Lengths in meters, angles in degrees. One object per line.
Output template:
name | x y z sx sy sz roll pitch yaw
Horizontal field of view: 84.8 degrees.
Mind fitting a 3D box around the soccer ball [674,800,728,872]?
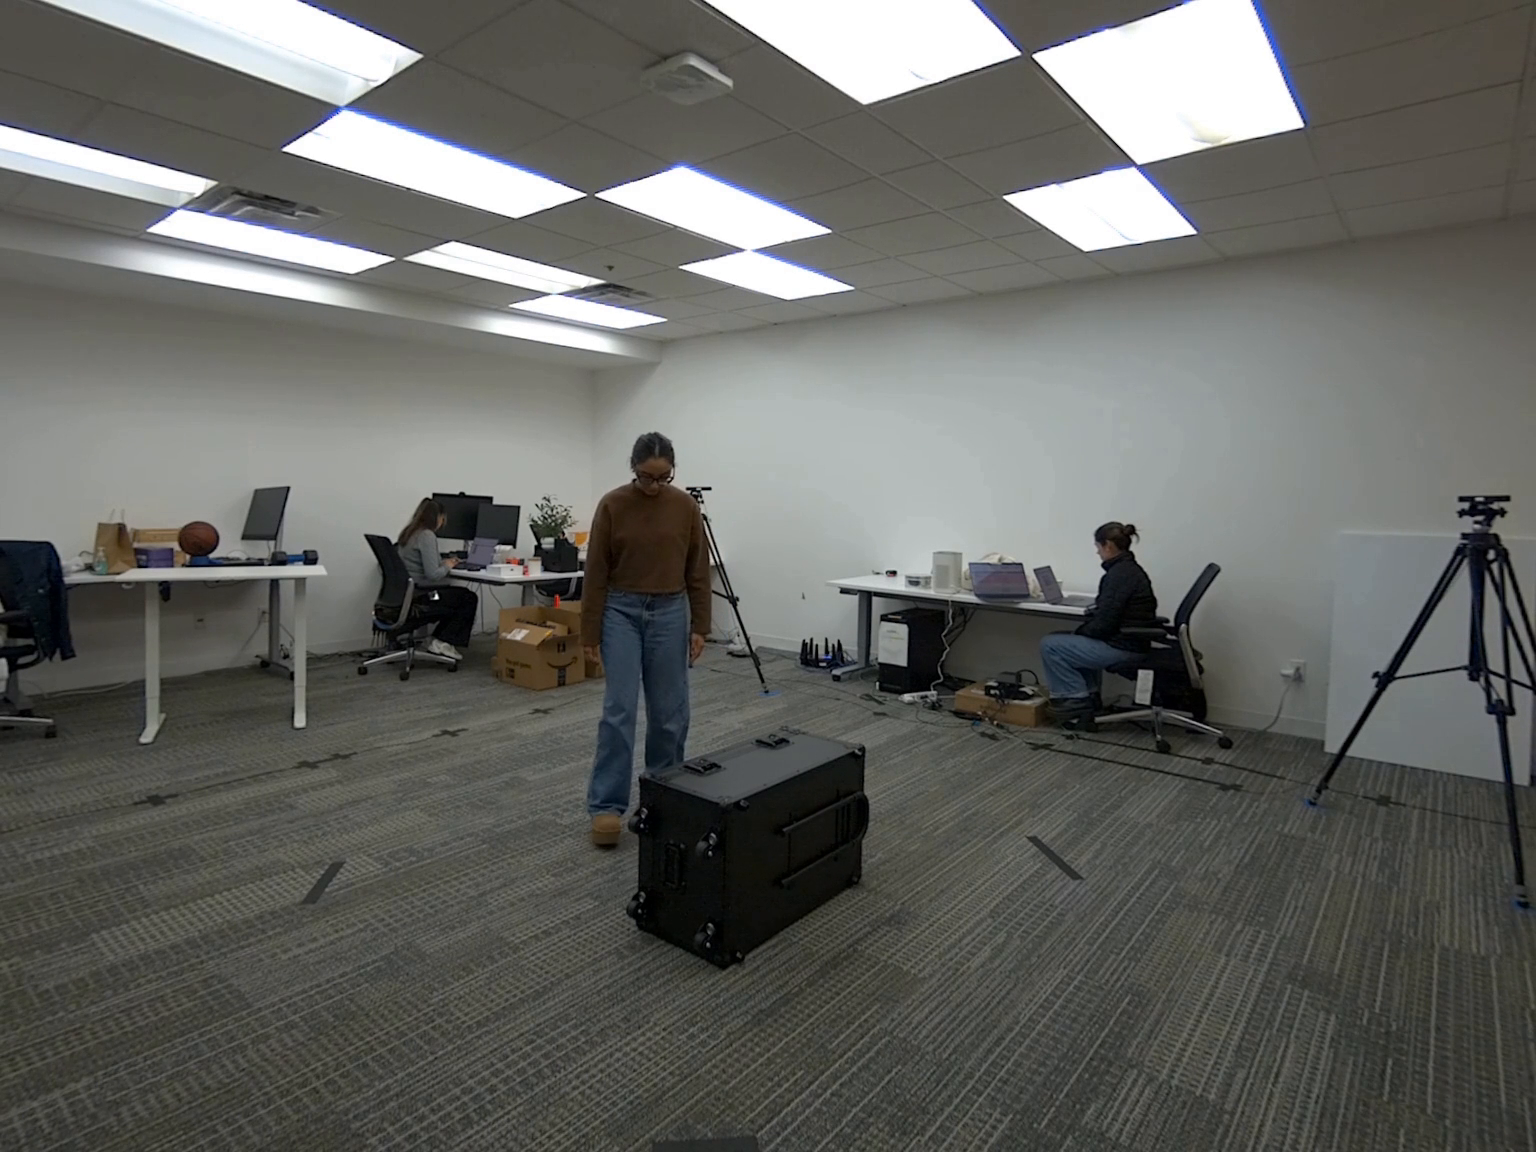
soccer ball | -0.249 0.958 3.120 0.187 0.187 0.188 1 4 -2
